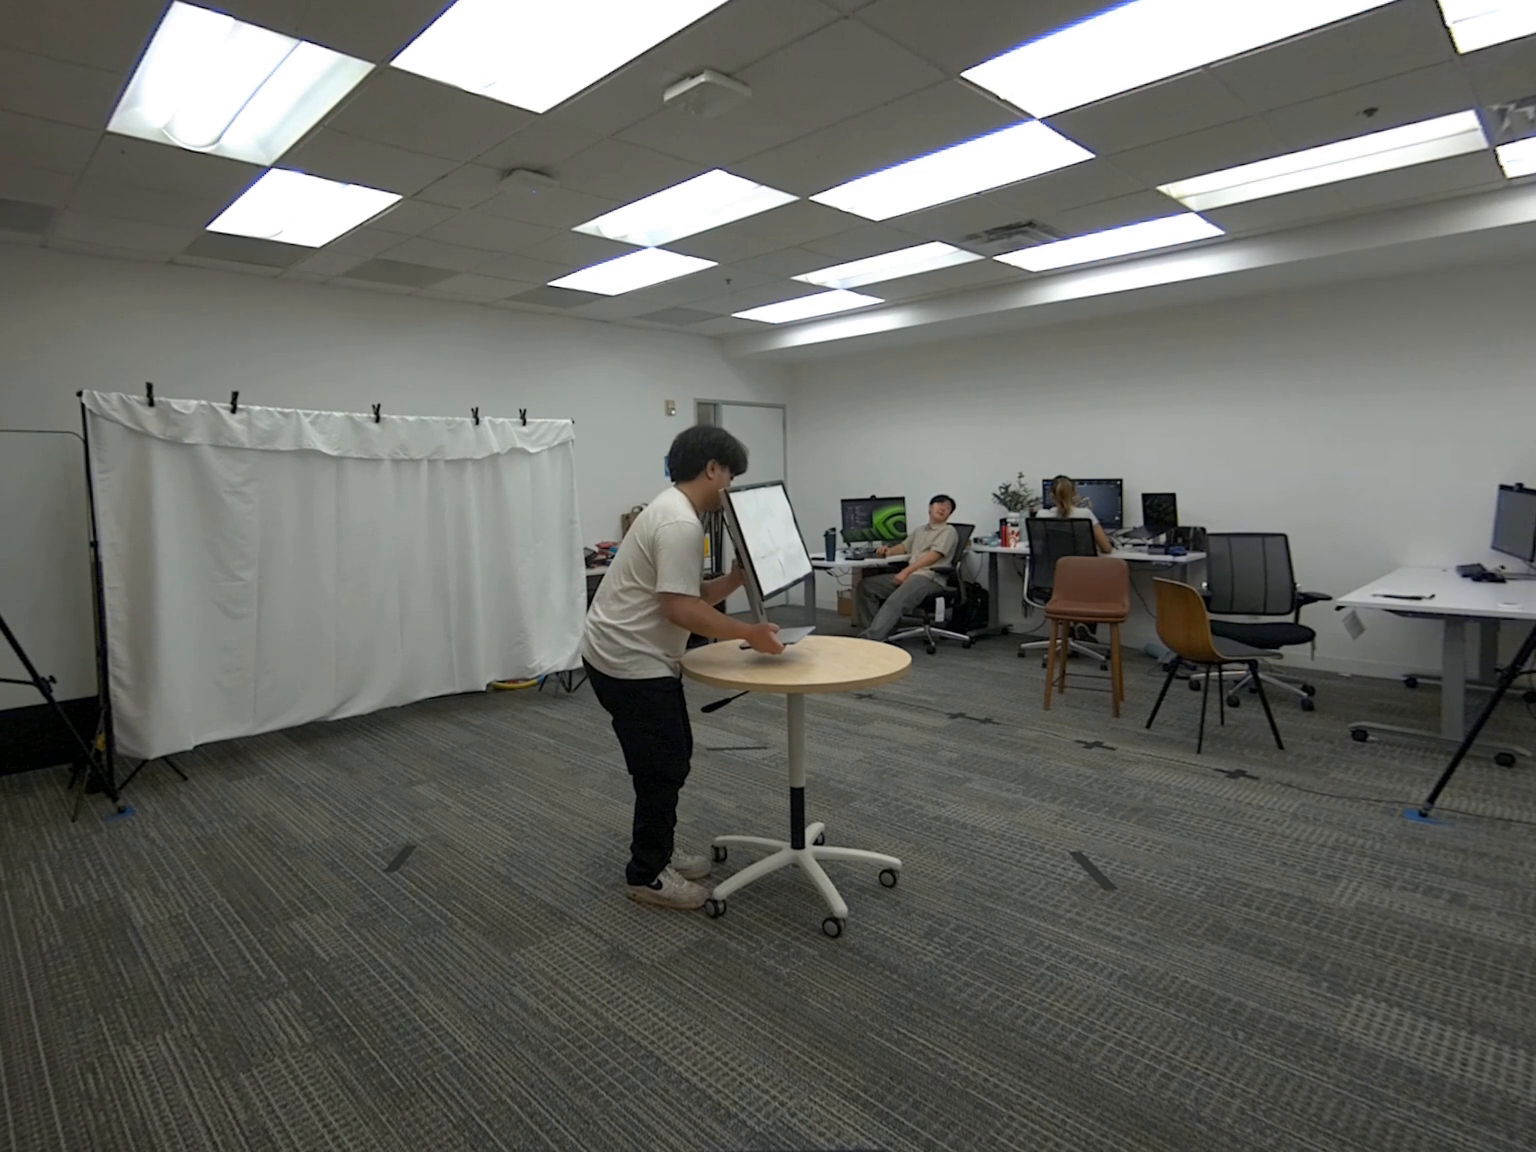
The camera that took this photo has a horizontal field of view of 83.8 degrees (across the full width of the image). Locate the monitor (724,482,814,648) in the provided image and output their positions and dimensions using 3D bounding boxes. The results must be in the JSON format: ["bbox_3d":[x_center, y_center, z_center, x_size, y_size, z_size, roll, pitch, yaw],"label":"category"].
[{"bbox_3d":[-0.038,-0.032,2.855,0.213,0.553,0.557,-12,3,22],"label":"monitor"}]
